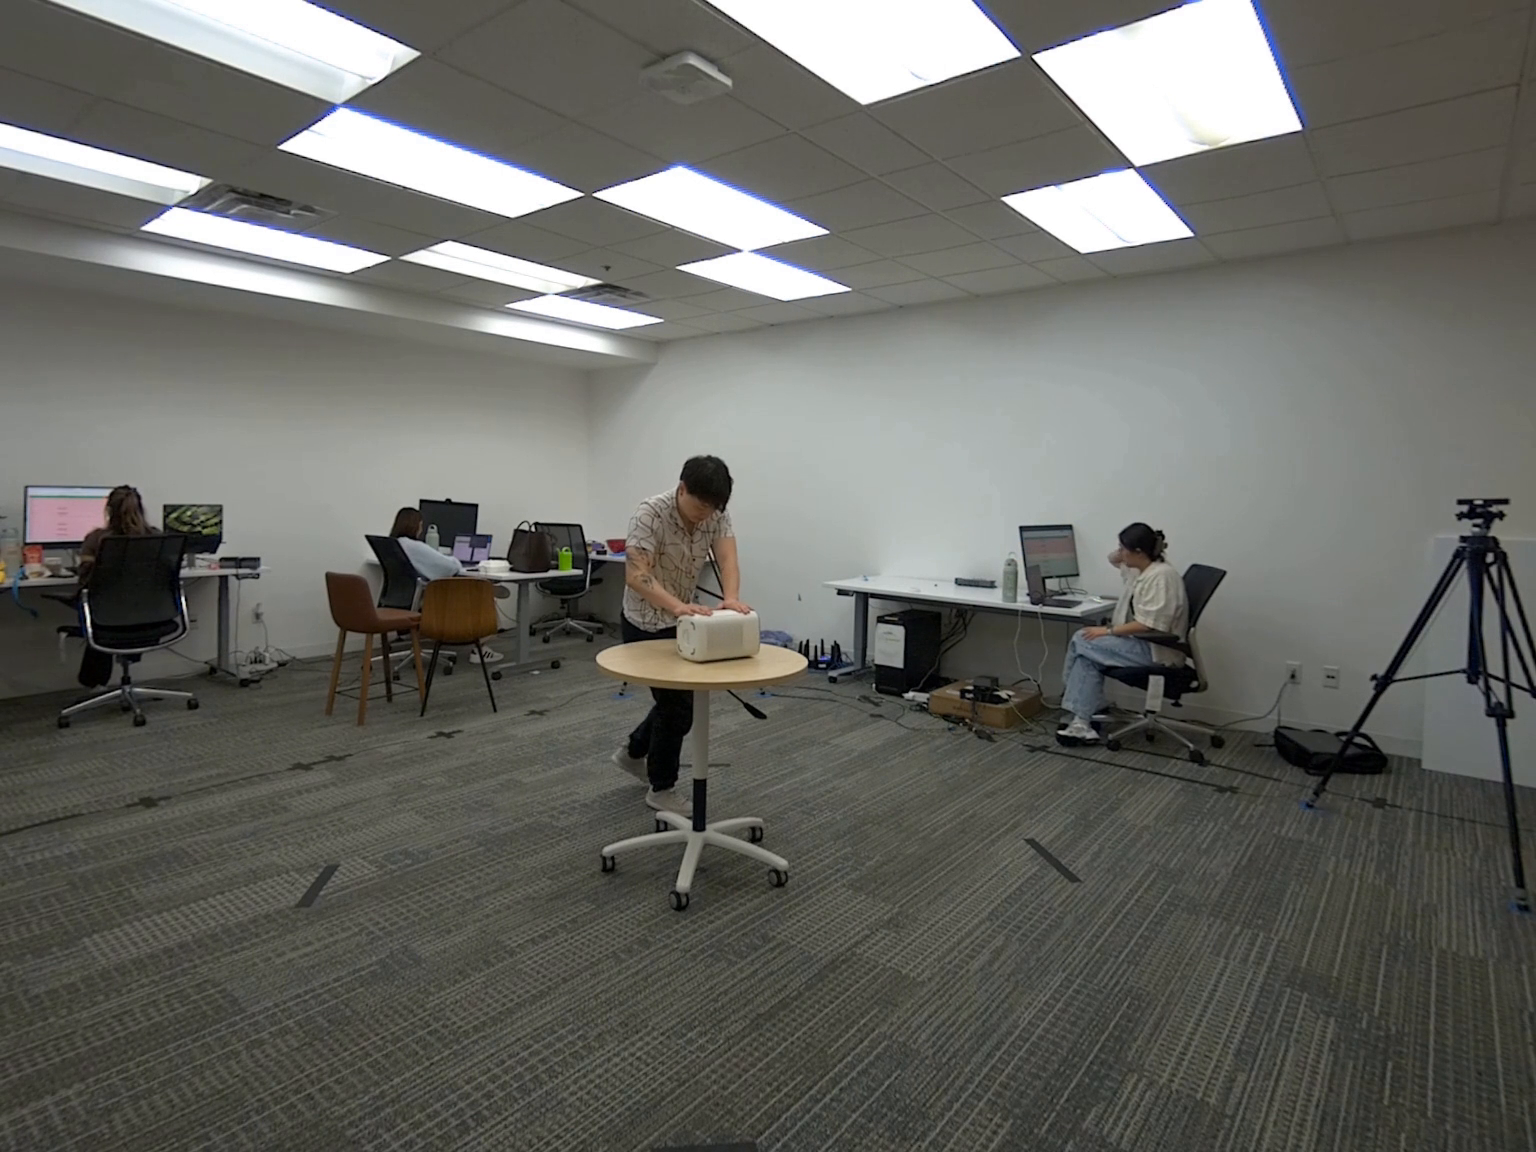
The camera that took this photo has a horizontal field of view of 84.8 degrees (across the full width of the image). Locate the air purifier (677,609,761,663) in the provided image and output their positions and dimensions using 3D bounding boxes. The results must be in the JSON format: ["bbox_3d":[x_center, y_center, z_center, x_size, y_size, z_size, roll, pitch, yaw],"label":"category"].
[{"bbox_3d":[-0.197,0.205,3.089,0.258,0.171,0.176,-3,4,-34],"label":"air purifier"}]
